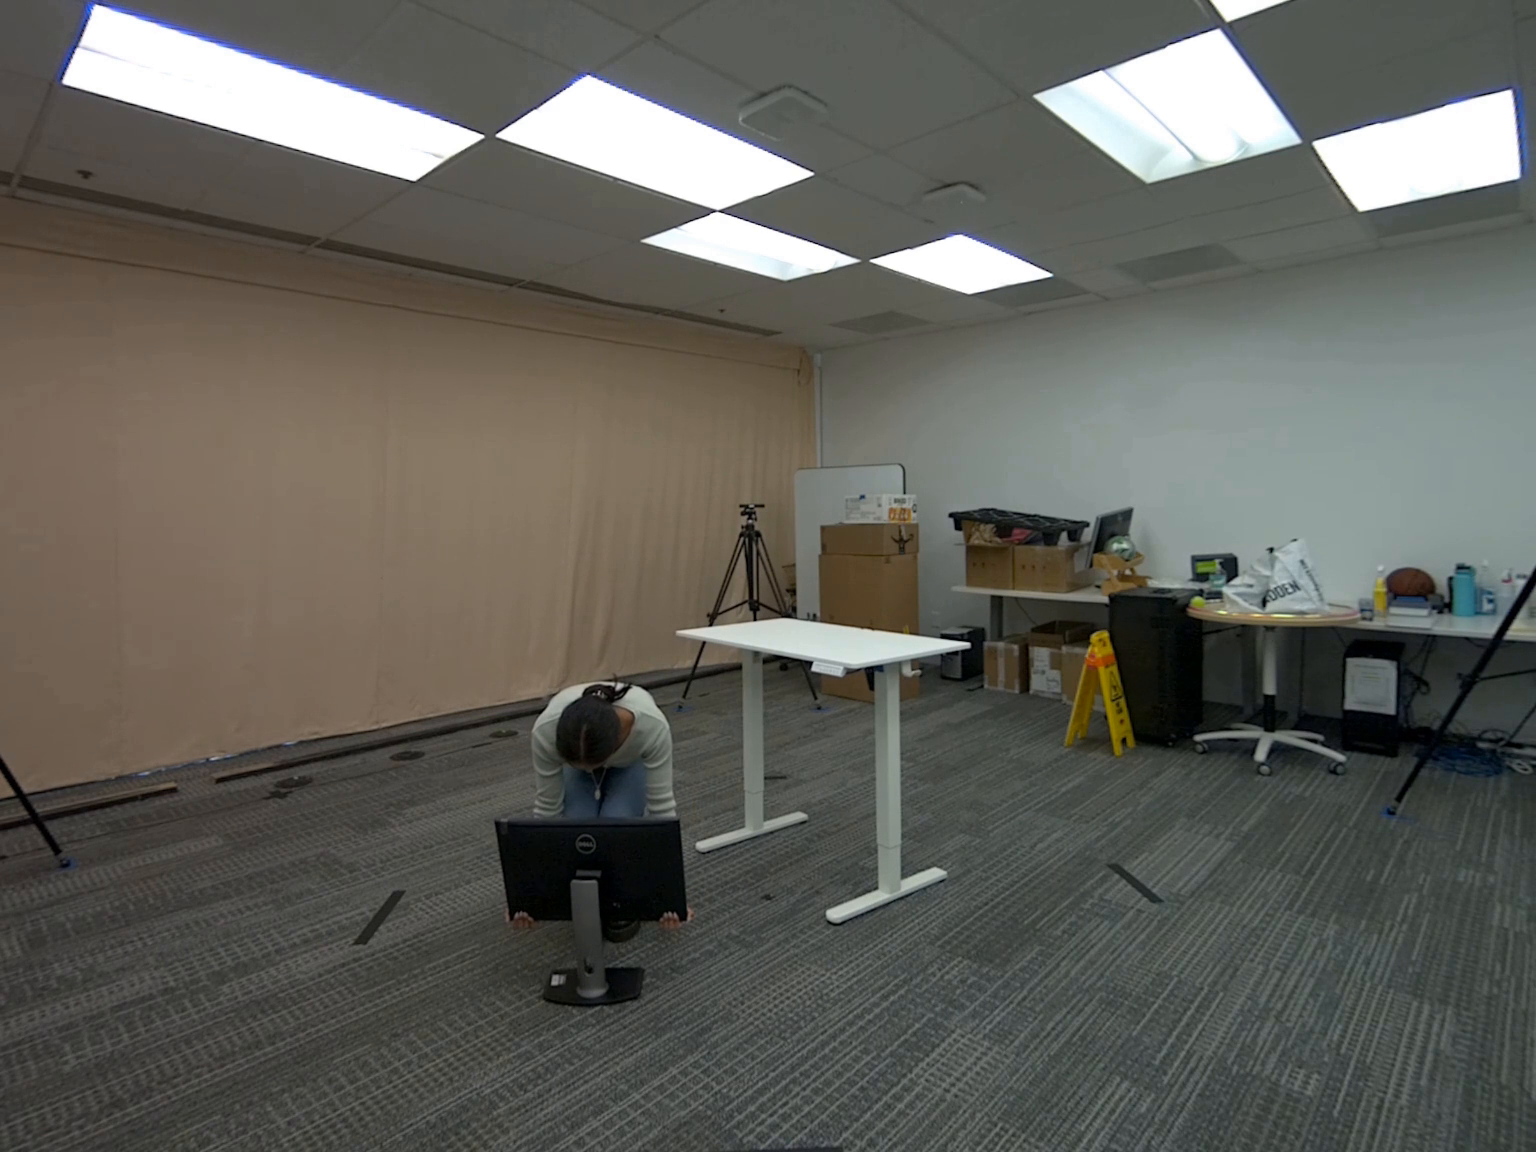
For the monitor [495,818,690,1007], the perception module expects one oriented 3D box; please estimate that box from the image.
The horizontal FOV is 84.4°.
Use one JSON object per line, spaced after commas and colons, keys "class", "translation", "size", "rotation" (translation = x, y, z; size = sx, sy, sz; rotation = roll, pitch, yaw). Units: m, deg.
{"class": "monitor", "translation": [-0.513, 0.944, 2.423], "size": [0.540, 0.521, 0.187], "rotation": [-1, 5, 1]}
